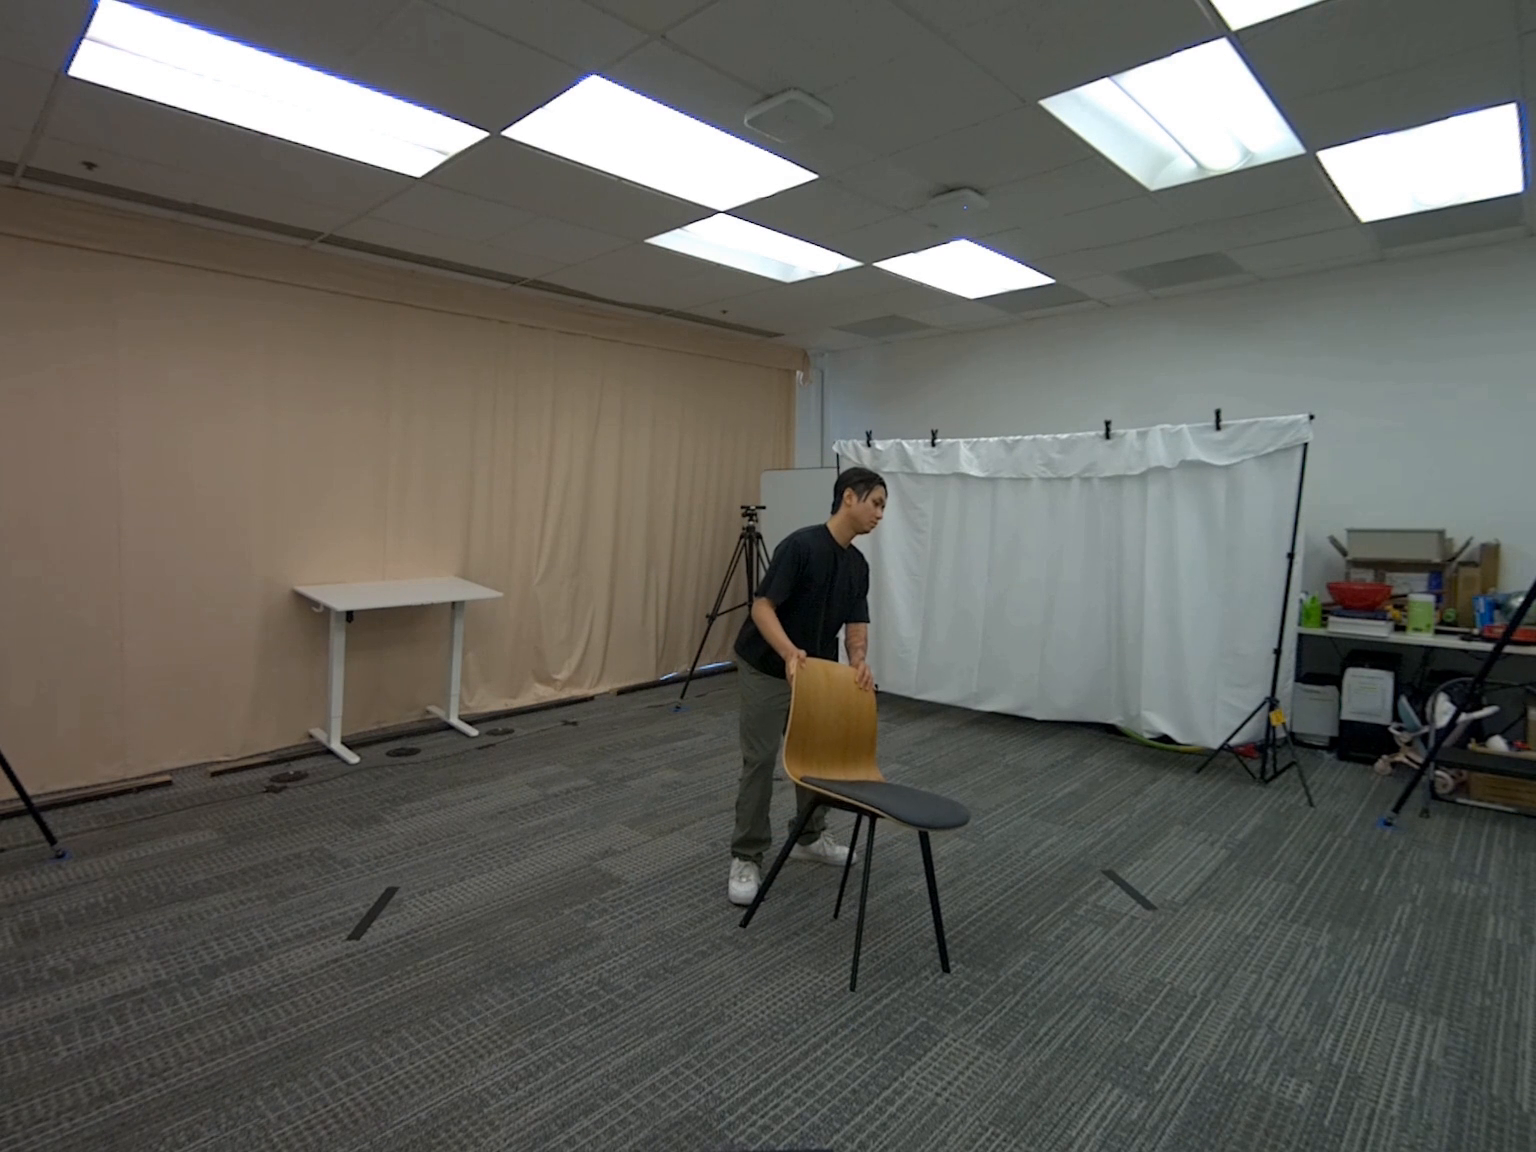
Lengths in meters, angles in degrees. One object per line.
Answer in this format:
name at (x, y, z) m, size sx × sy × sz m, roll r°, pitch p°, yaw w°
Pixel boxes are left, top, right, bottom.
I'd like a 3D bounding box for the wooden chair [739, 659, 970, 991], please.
wooden chair at (0.310, 0.711, 2.569) m, size 0.461 × 0.881 × 0.539 m, roll 15°, pitch -12°, yaw -42°
